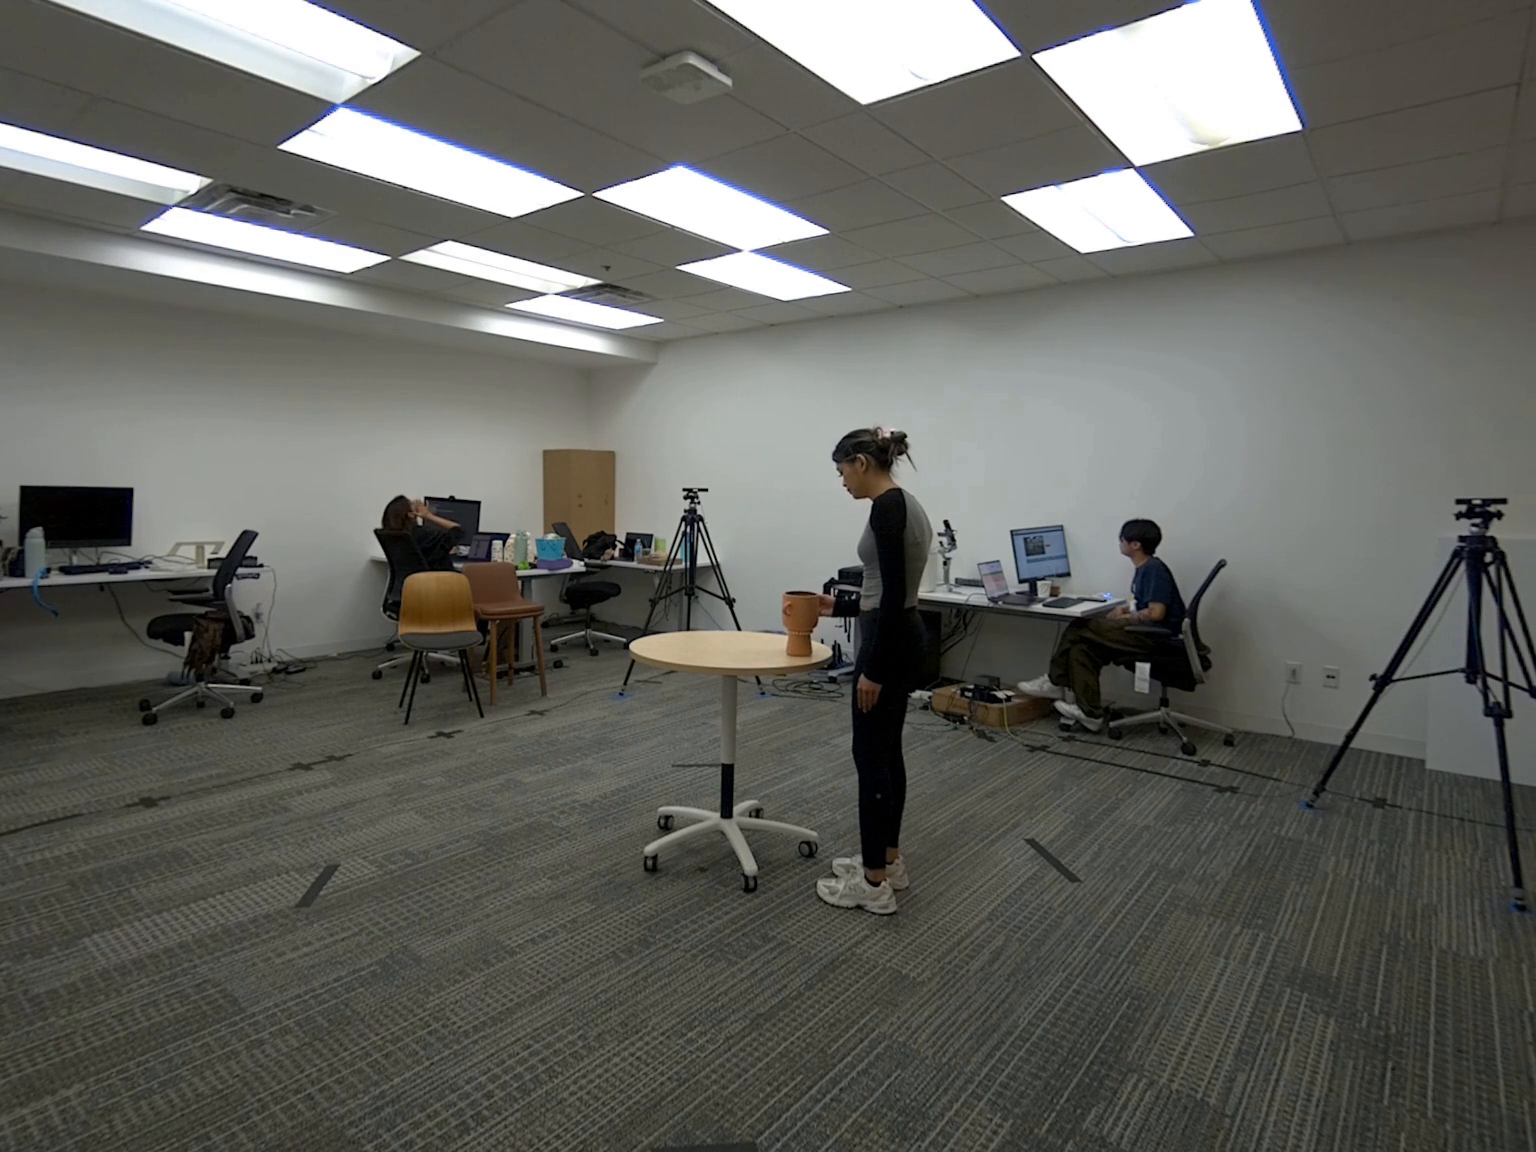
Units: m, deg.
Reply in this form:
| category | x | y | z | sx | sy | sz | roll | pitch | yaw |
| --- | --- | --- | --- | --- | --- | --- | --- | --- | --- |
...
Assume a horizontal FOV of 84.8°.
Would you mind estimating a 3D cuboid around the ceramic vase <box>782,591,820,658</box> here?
| category | x | y | z | sx | sy | sz | roll | pitch | yaw |
| --- | --- | --- | --- | --- | --- | --- | --- | --- | --- |
| ceramic vase | 0.112 | 0.168 | 3.103 | 0.157 | 0.219 | 0.136 | -1 | 5 | -10 |
